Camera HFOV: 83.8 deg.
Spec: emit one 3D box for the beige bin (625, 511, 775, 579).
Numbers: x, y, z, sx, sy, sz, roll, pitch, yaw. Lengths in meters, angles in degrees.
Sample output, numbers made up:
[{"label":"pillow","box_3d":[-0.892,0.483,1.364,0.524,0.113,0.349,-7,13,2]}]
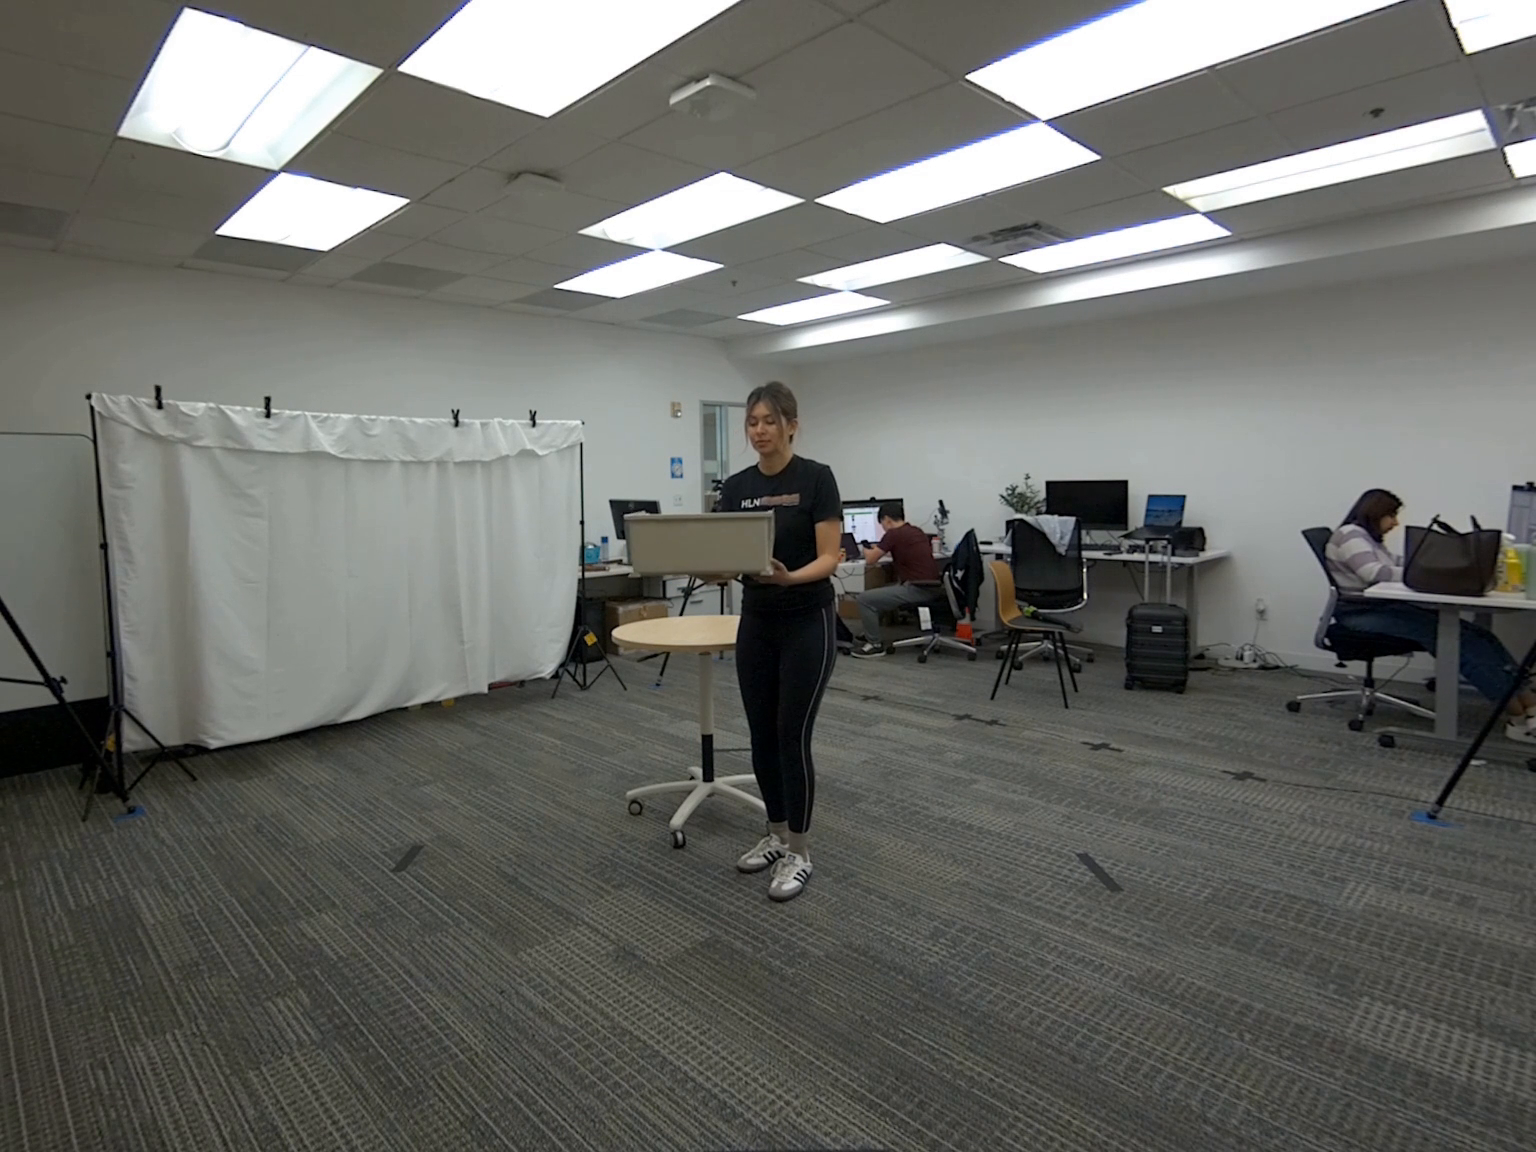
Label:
[{"label":"beige bin","box_3d":[-0.195,-0.098,2.605,0.424,0.188,0.376,-1,4,4]}]
